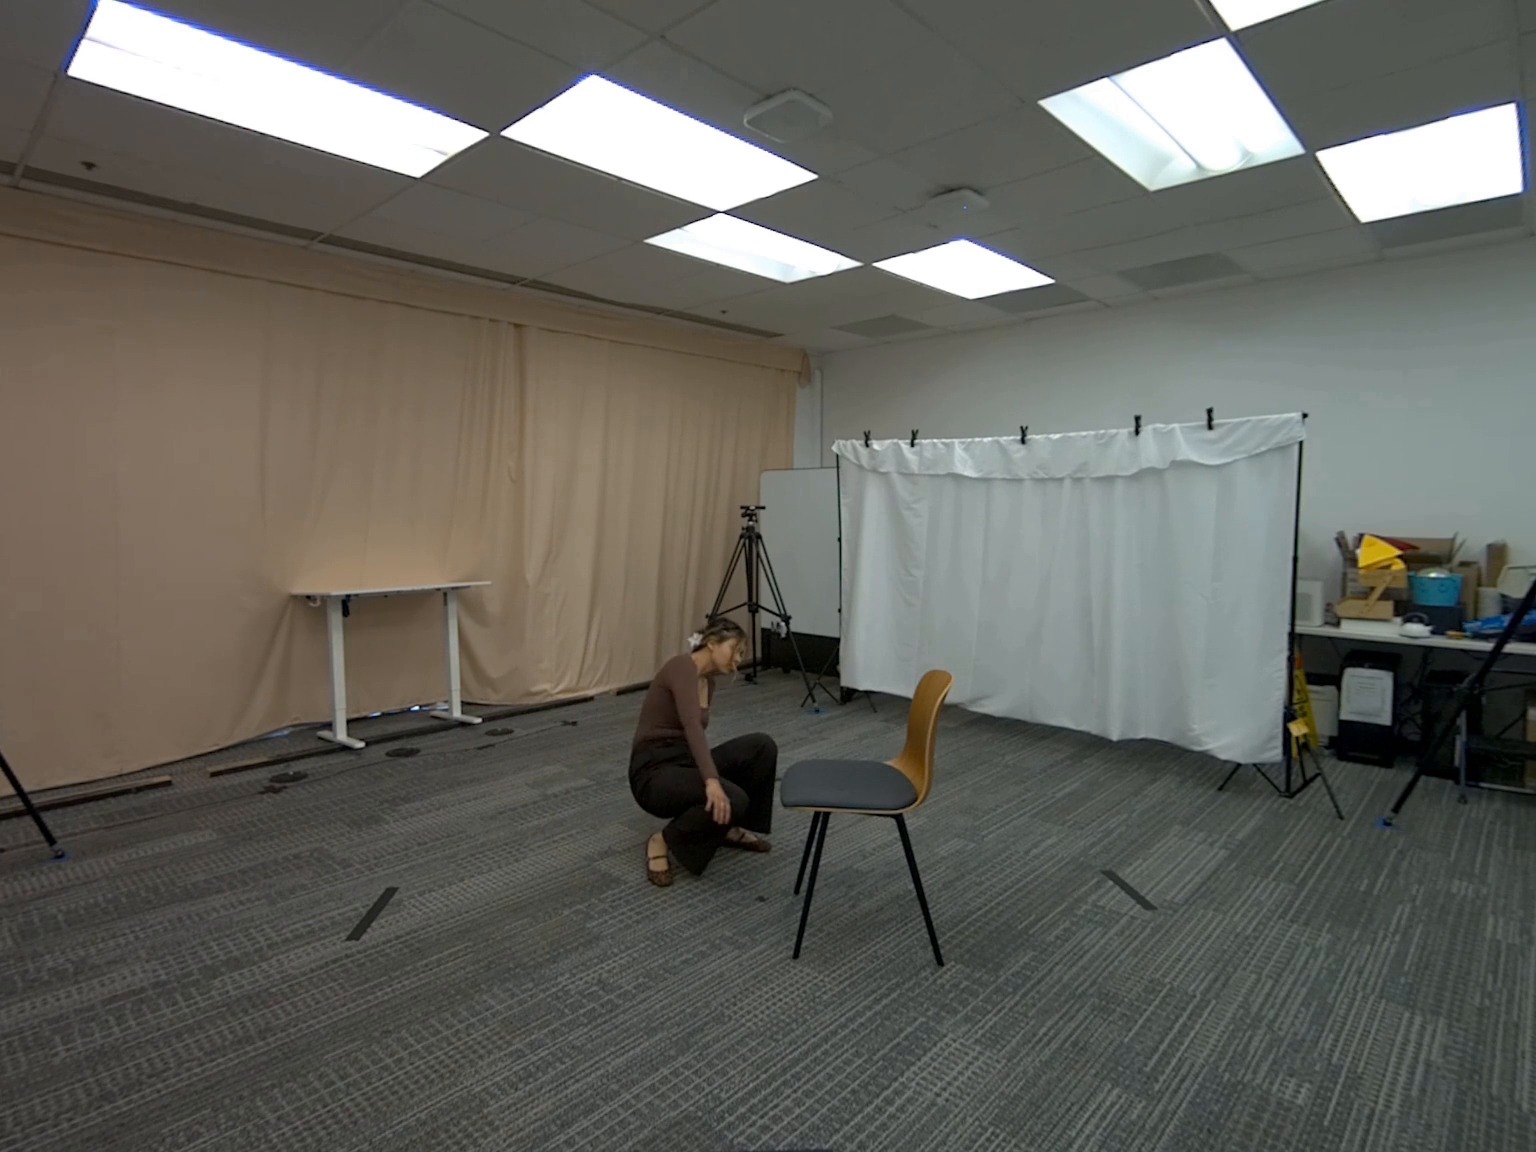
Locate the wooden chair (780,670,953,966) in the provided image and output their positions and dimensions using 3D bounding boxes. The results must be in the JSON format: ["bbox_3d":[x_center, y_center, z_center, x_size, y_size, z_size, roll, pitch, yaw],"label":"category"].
[{"bbox_3d":[0.308,0.735,2.750,0.526,0.875,0.477,4,4,4],"label":"wooden chair"}]
